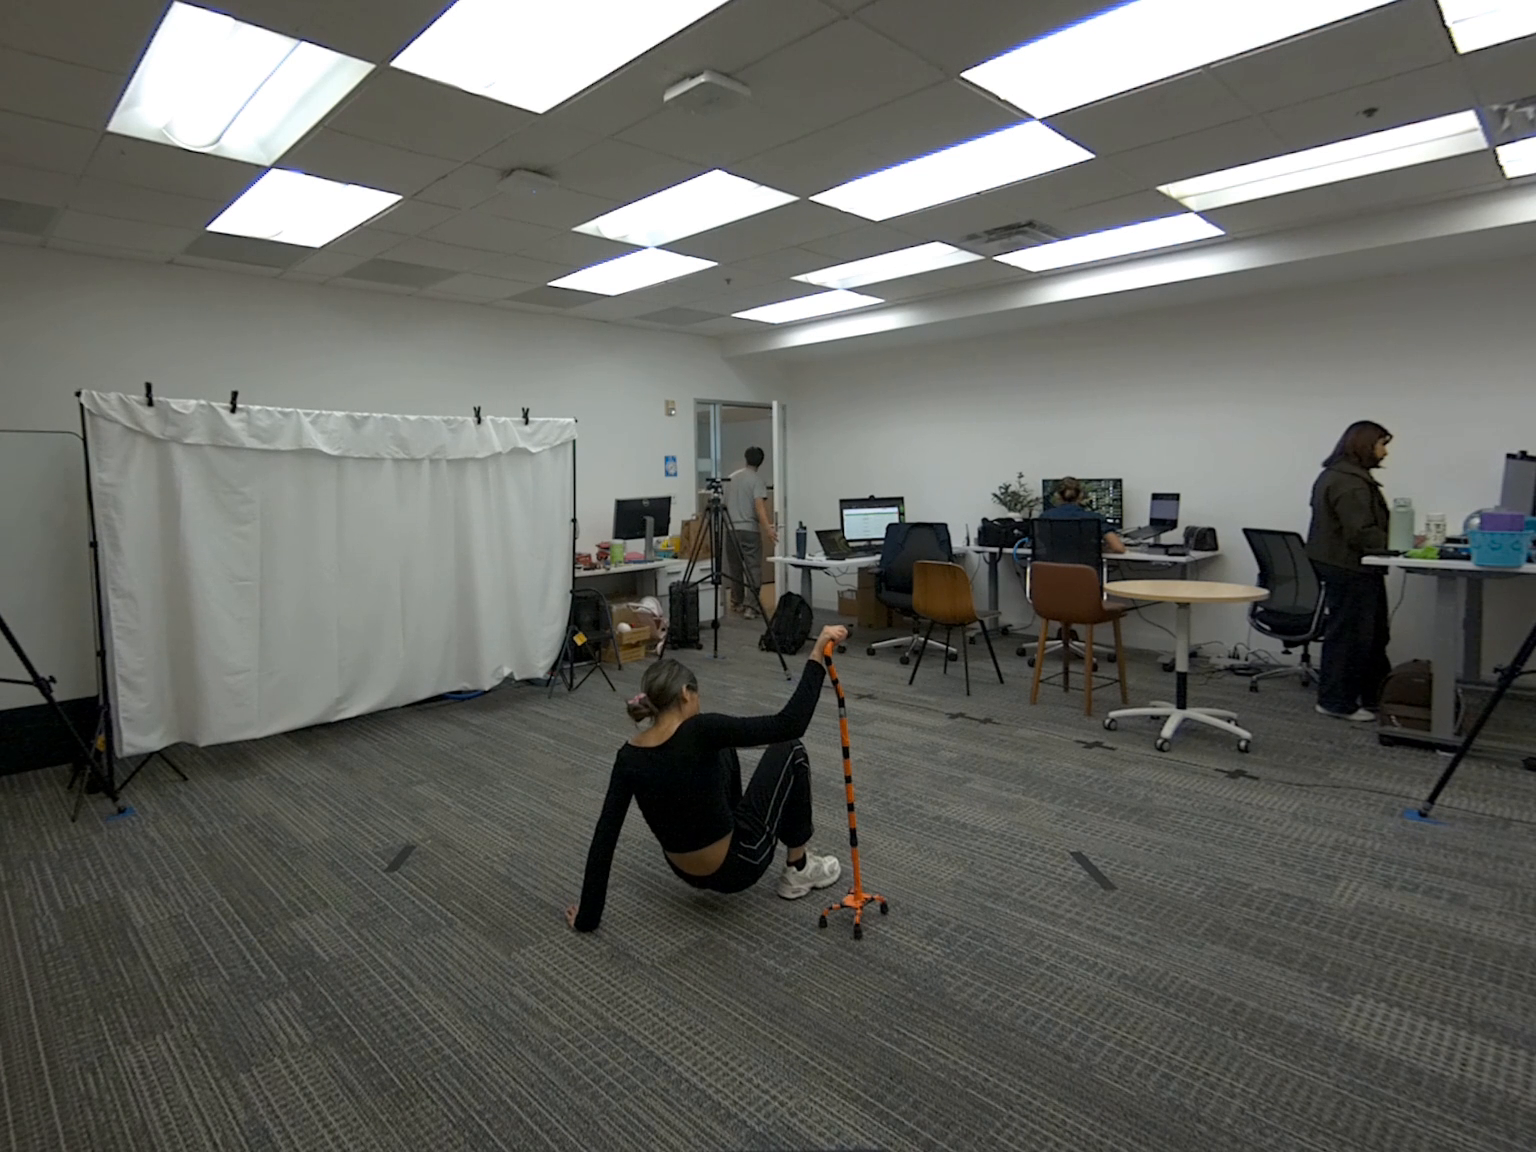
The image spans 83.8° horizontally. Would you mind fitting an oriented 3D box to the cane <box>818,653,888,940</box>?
[{"bbox_3d":[0.239,0.625,2.678,0.155,0.906,0.201,-3,2,35],"label":"cane"}]
